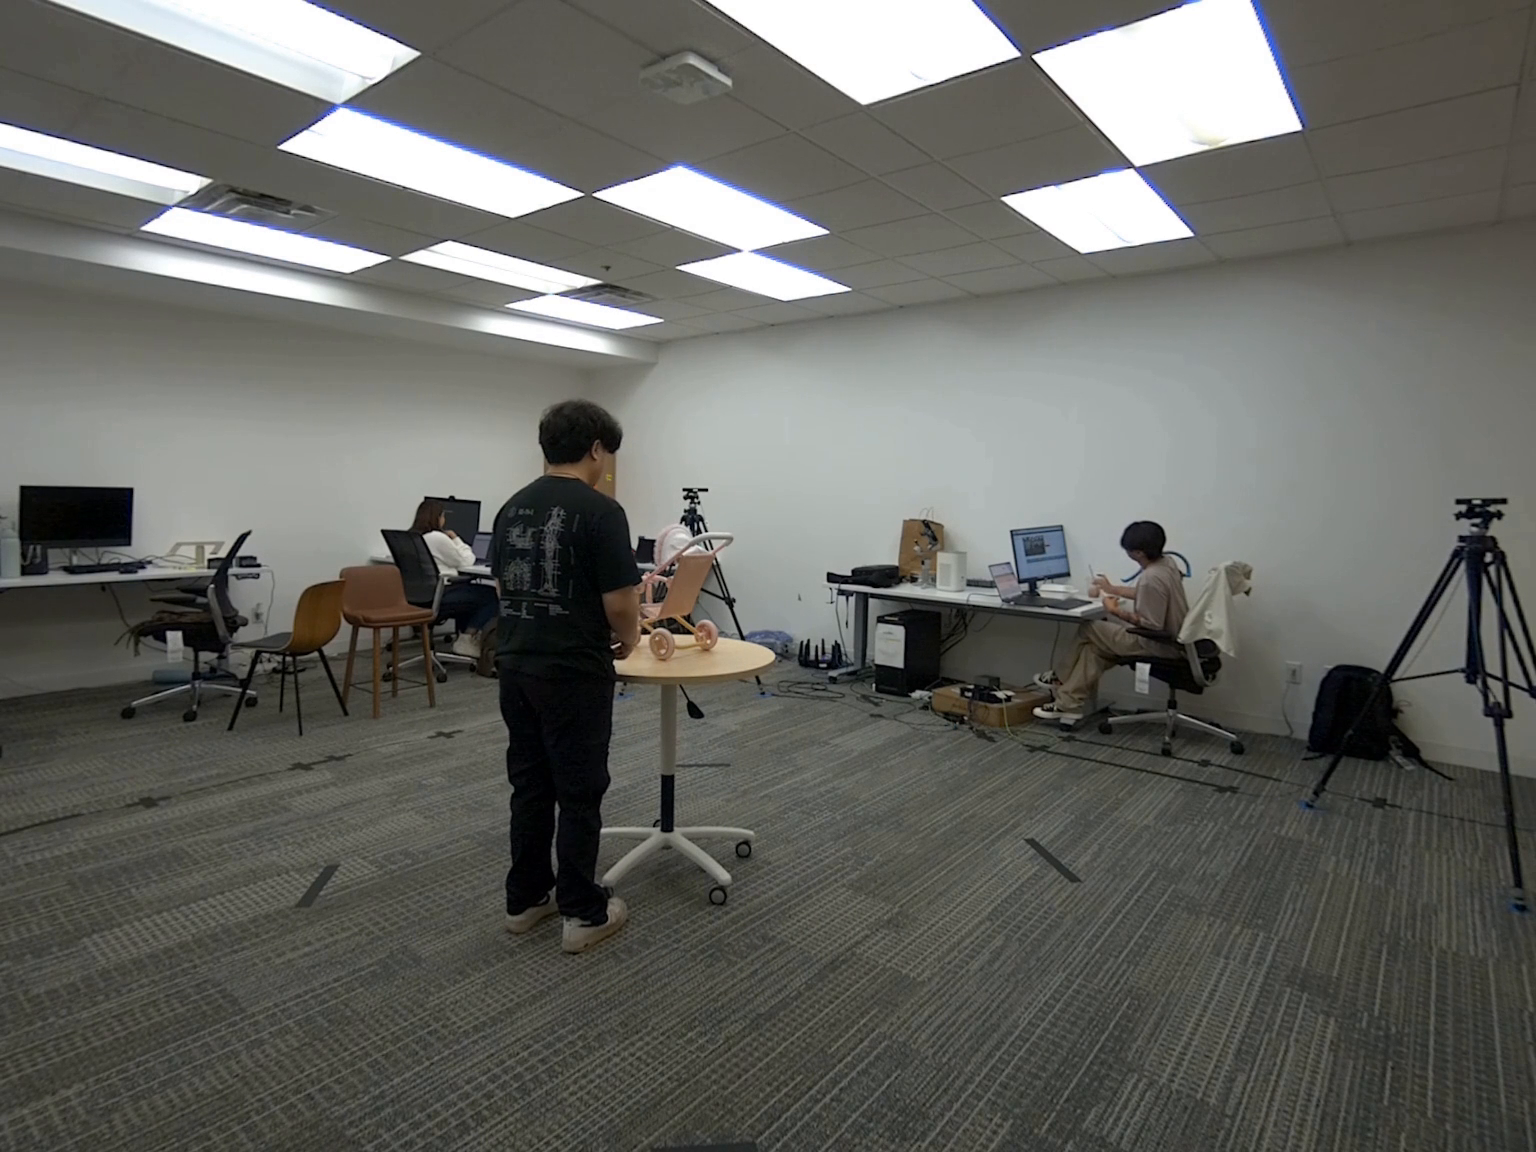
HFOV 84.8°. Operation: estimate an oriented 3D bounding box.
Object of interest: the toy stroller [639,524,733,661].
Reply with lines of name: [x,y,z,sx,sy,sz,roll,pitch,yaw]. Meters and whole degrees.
toy stroller: [-0.360,0.049,3.084,0.355,0.530,0.273,22,16,38]
